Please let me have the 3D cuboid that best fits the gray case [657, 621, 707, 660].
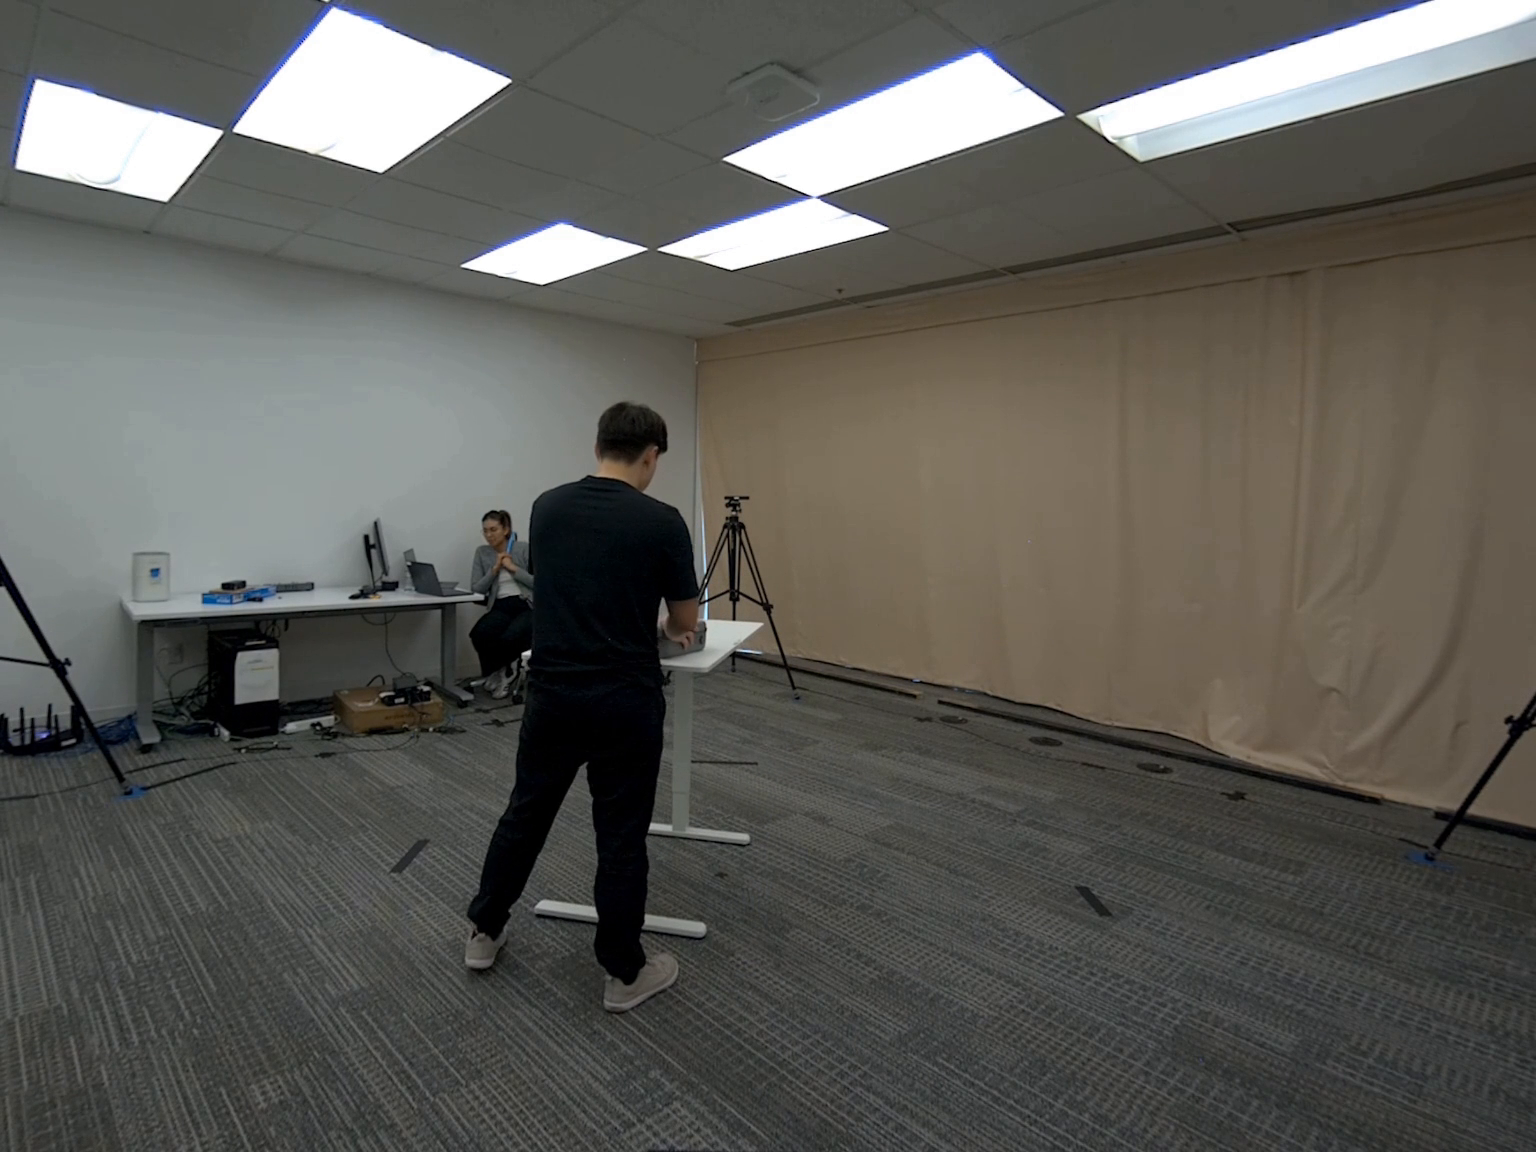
[{"bbox_3d":[-0.372,0.198,2.779,0.262,0.104,0.256,2,5,29],"label":"gray case"}]
